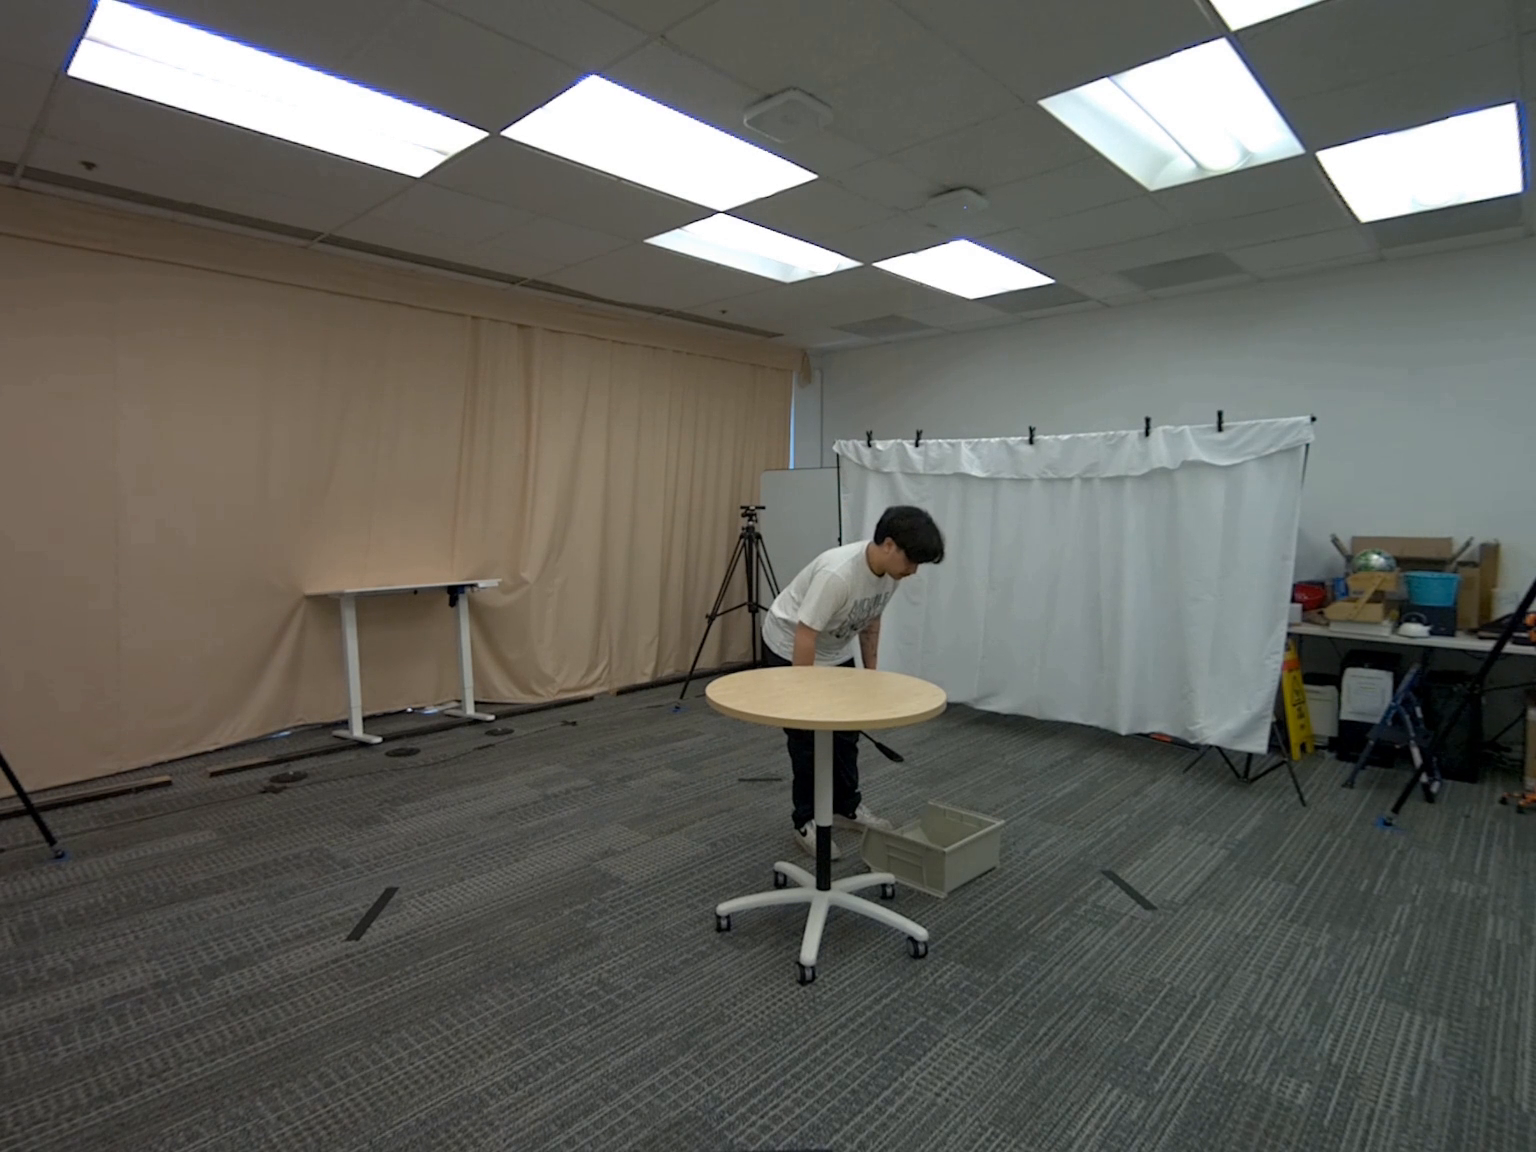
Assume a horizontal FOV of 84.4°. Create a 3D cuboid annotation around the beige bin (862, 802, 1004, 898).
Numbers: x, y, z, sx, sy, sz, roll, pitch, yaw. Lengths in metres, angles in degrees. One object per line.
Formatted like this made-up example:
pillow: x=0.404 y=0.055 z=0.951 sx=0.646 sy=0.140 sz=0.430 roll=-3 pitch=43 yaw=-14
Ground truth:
beige bin: x=0.635 y=1.032 z=3.236 sx=0.390 sy=0.188 sz=0.409 roll=5 pitch=6 yaw=44
